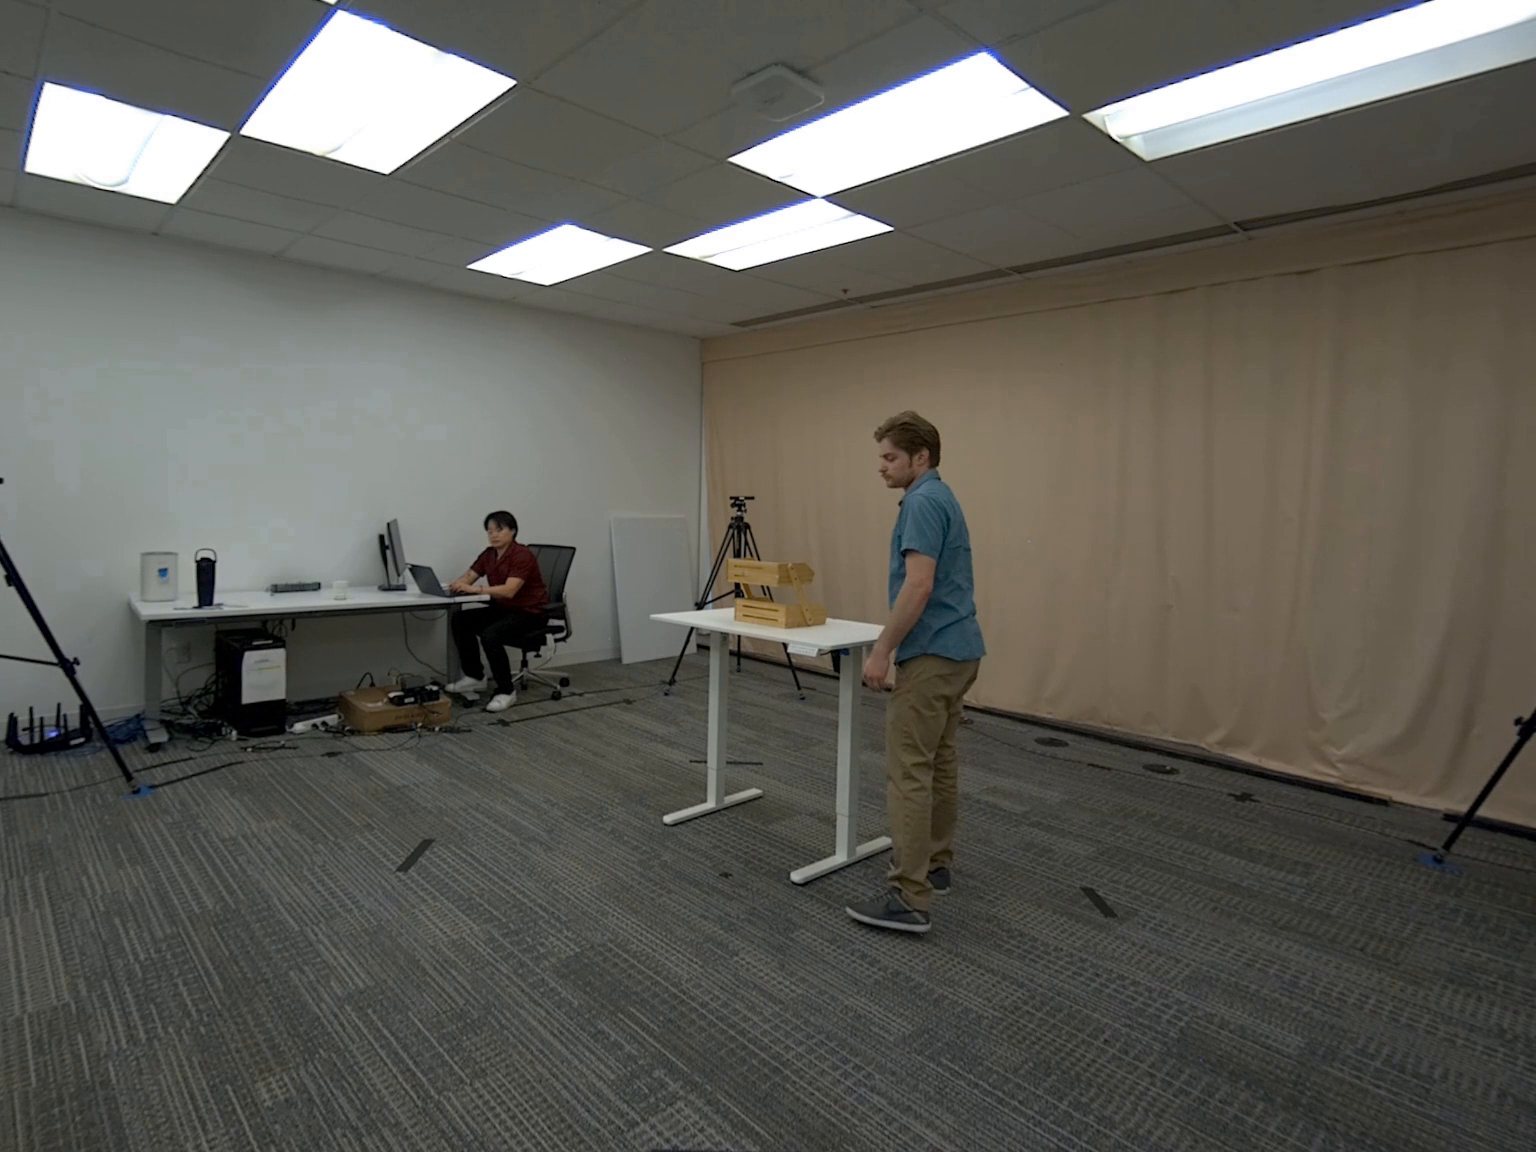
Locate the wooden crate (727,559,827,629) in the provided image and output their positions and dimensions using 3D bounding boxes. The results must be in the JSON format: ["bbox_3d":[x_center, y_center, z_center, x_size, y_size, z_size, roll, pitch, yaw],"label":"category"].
[{"bbox_3d":[0.033,0.062,3.479,0.295,0.273,0.333,-2,5,-44],"label":"wooden crate"}]
